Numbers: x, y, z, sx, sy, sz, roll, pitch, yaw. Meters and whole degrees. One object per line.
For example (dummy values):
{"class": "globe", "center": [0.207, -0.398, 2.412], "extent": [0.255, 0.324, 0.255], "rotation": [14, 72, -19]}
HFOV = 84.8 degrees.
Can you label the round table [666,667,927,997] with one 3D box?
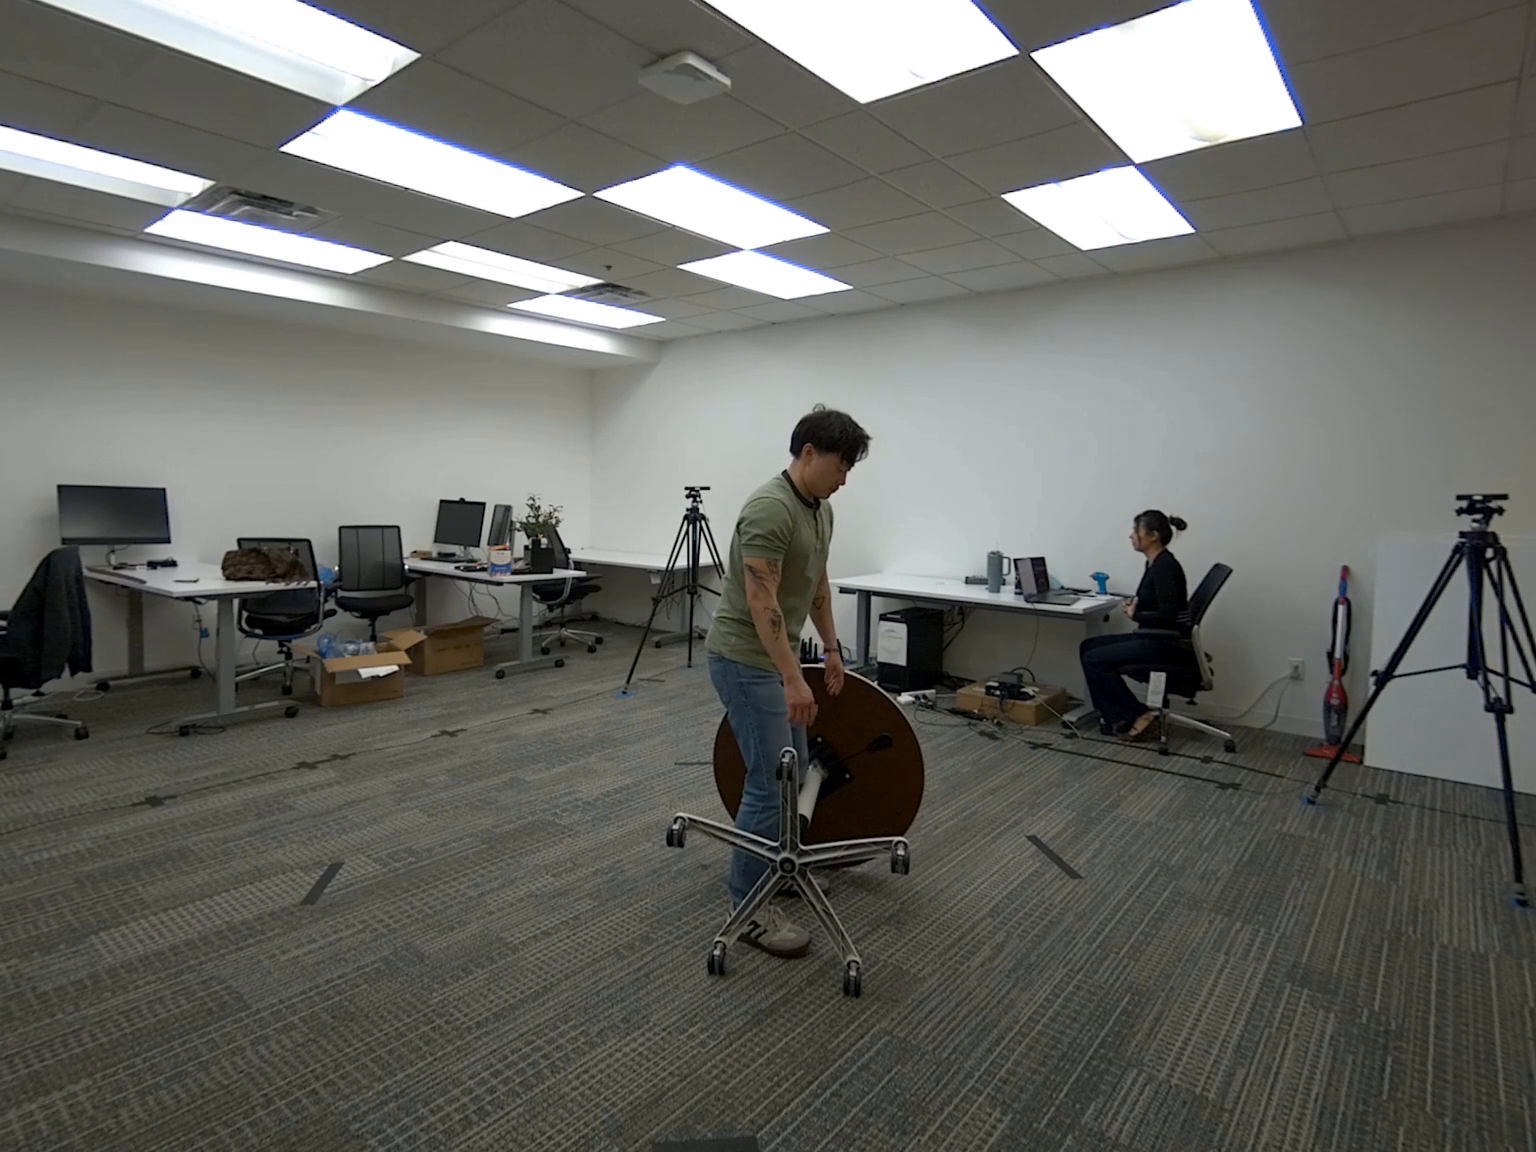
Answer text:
{"class": "round table", "center": [0.112, 0.766, 2.706], "extent": [0.774, 0.757, 0.792], "rotation": [1, 10, 11]}
